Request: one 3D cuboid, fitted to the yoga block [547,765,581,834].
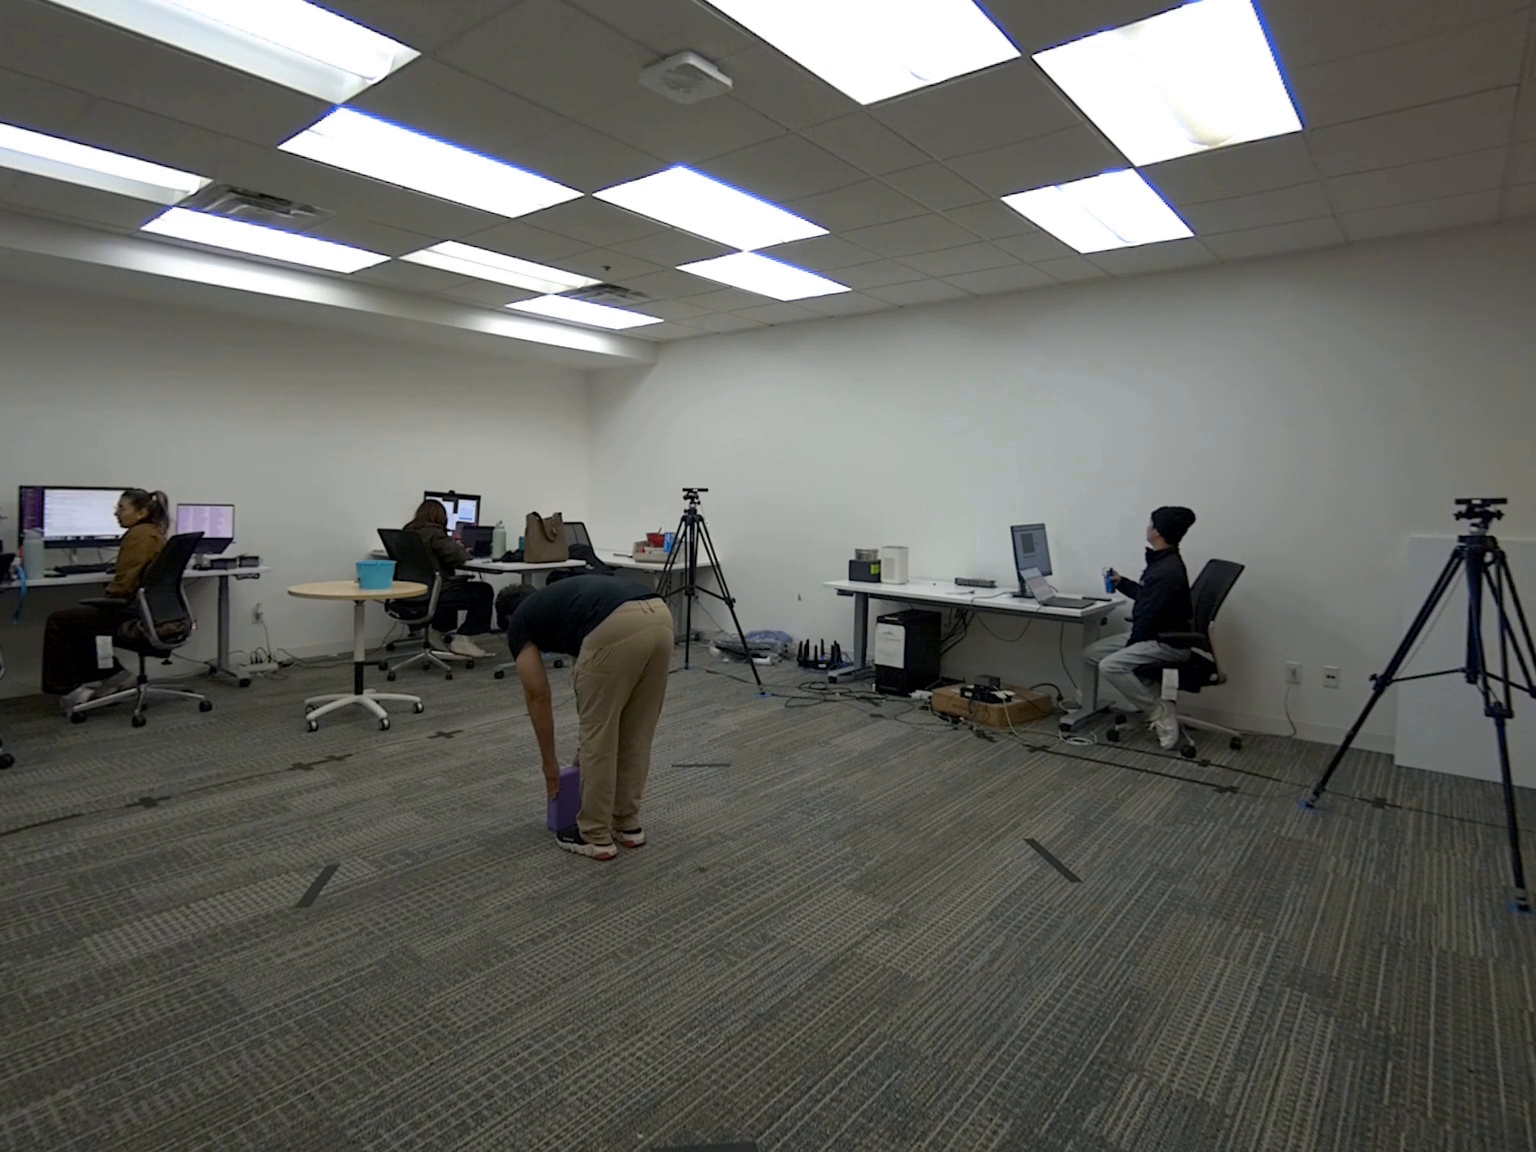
[{"bbox_3d":[-0.841,0.911,3.489,0.079,0.229,0.144,3,4,41],"label":"yoga block"}]
